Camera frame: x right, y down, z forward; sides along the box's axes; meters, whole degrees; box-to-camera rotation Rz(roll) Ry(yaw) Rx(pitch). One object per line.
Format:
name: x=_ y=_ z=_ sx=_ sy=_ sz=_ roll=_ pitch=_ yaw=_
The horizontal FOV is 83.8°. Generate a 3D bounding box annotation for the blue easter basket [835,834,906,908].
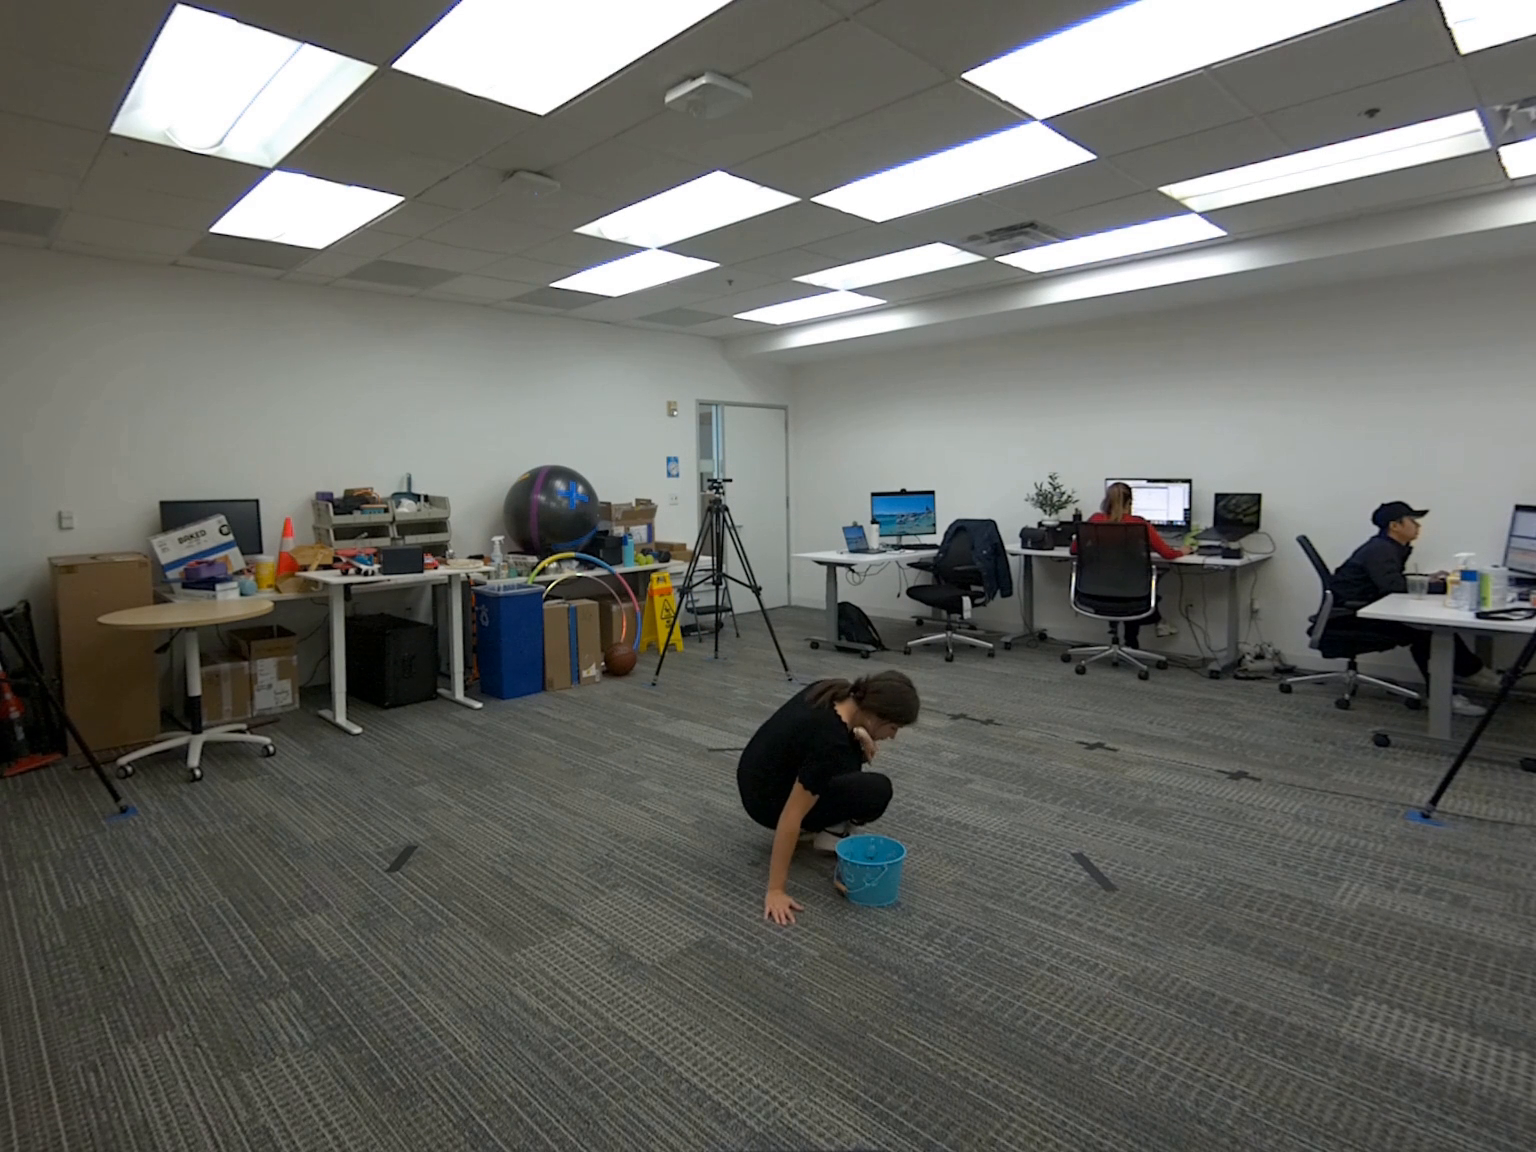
blue easter basket: x=0.336 y=0.989 z=2.858 sx=0.243 sy=0.155 sz=0.245 roll=-1 pitch=5 yaw=-2
